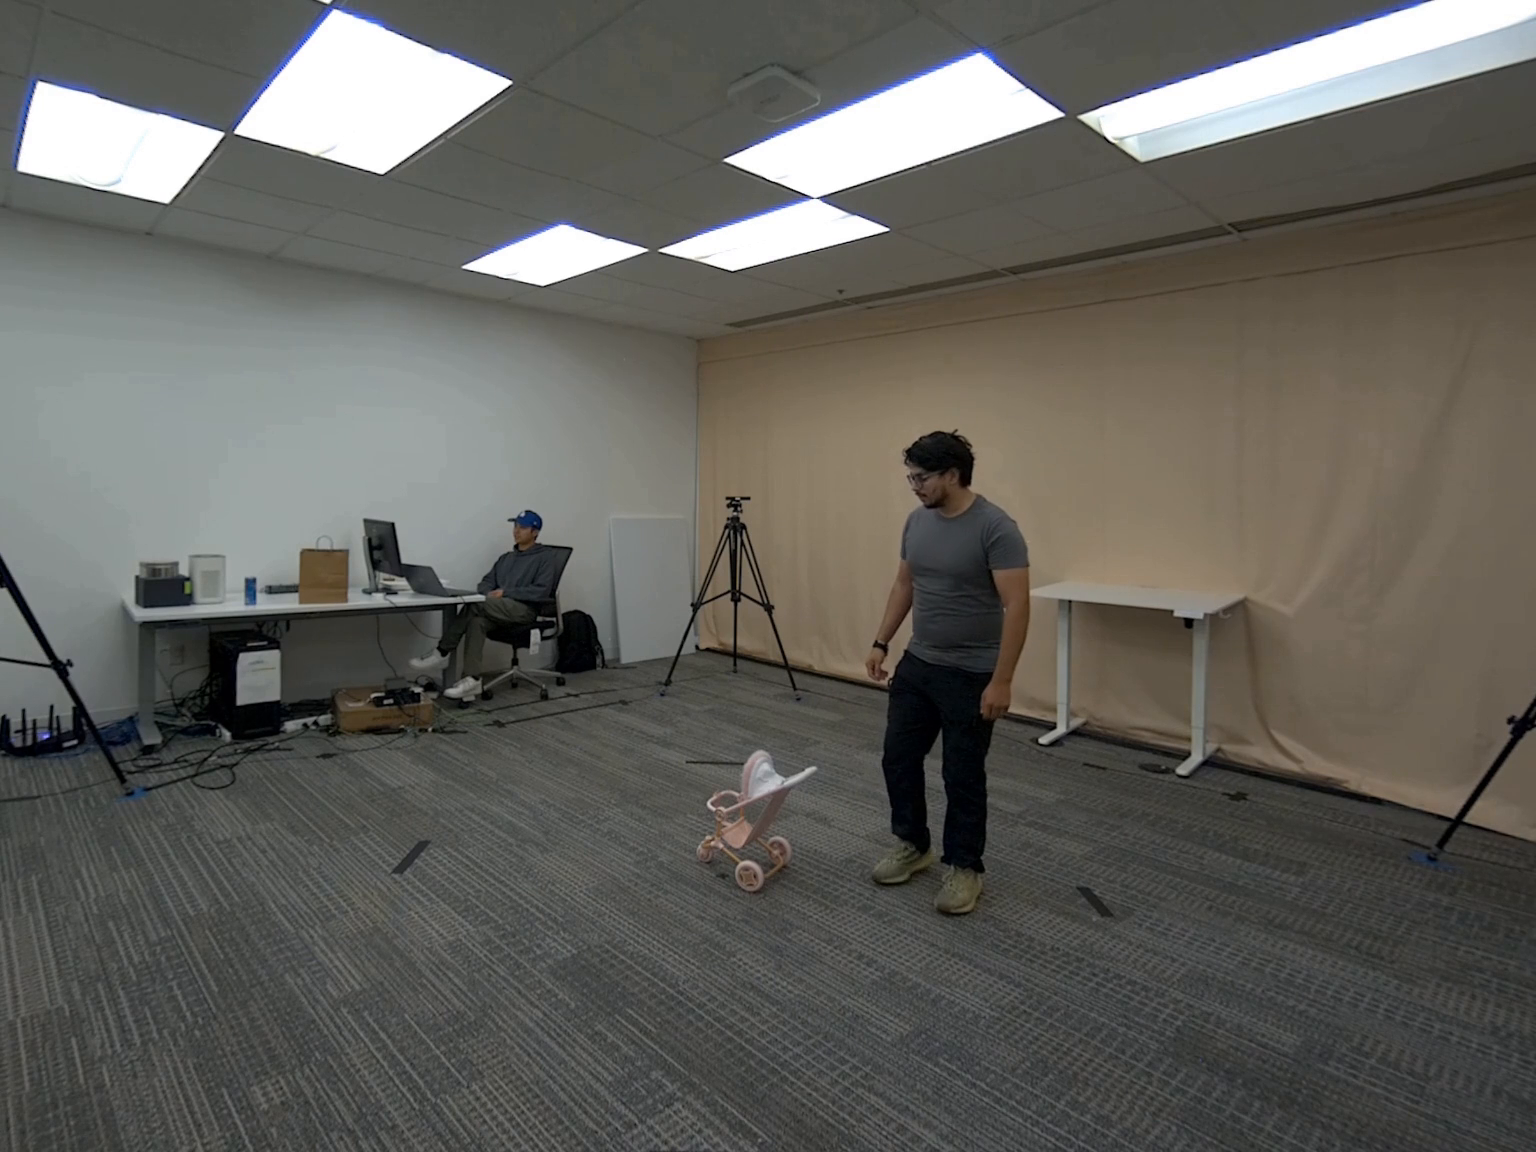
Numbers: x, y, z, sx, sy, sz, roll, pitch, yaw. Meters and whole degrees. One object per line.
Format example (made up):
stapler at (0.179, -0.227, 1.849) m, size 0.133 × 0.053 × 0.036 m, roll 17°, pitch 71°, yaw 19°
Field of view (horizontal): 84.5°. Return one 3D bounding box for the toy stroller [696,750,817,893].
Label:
toy stroller at (-0.066, 0.879, 3.118) m, size 0.350 × 0.532 × 0.275 m, roll 23°, pitch 13°, yaw 29°
